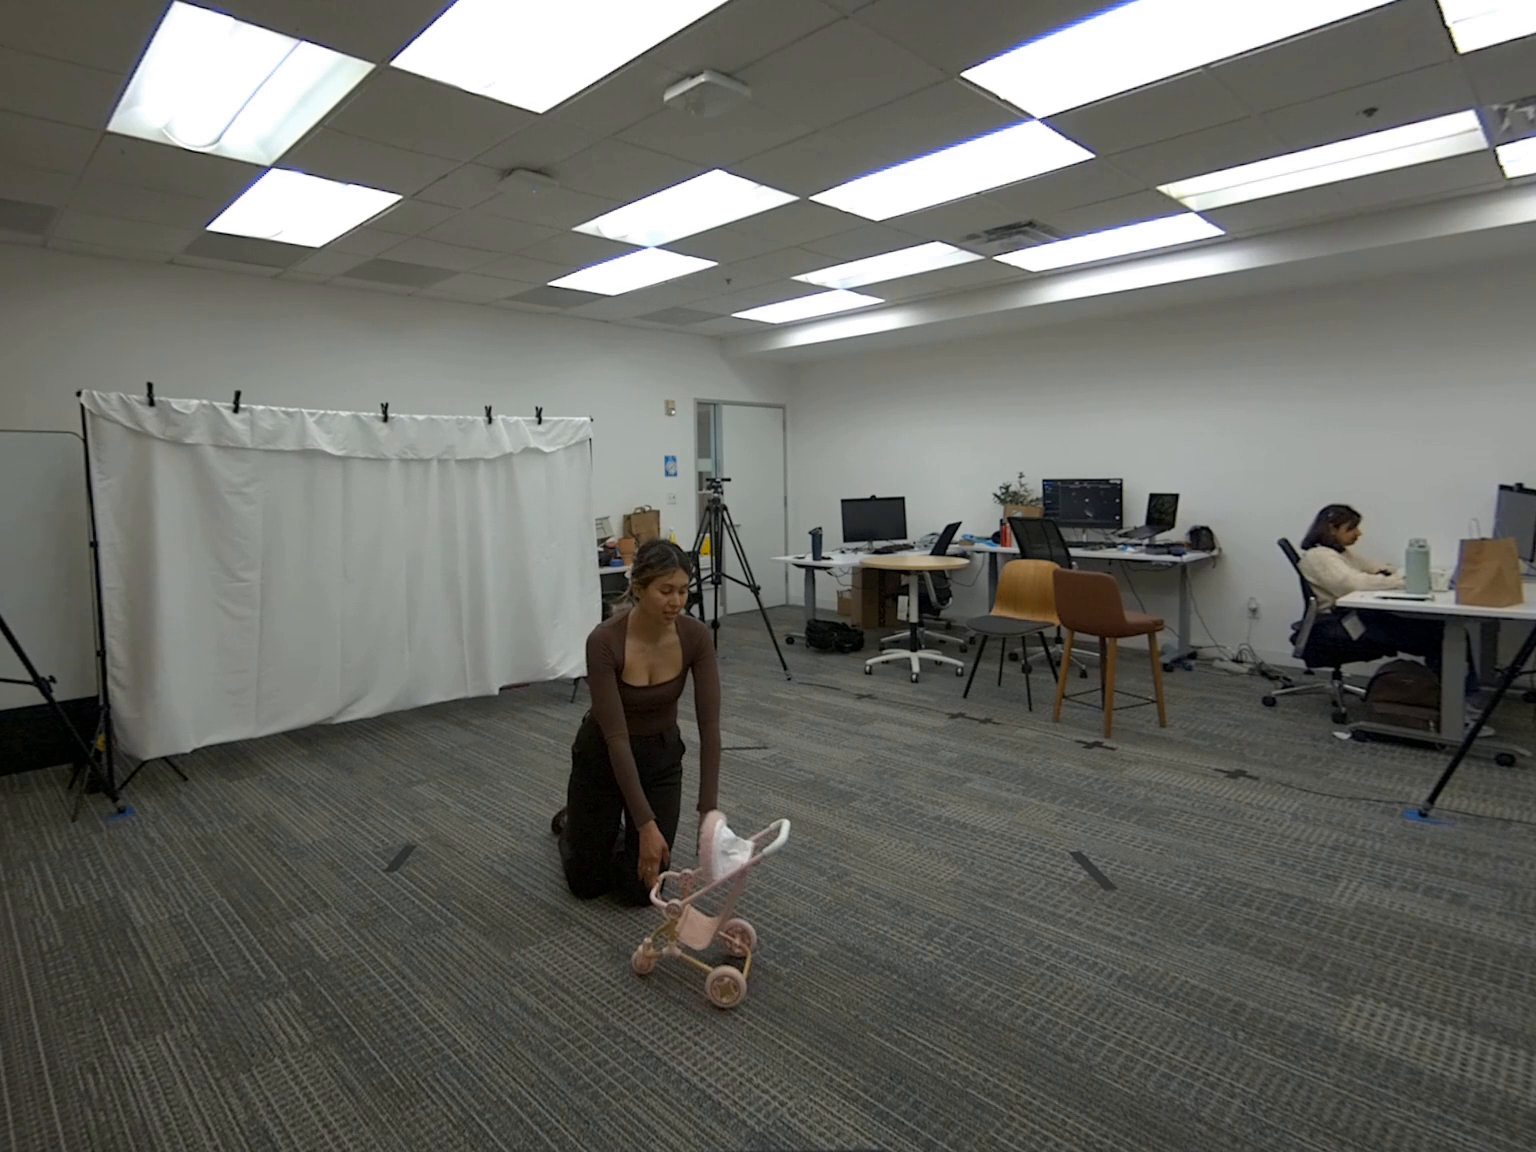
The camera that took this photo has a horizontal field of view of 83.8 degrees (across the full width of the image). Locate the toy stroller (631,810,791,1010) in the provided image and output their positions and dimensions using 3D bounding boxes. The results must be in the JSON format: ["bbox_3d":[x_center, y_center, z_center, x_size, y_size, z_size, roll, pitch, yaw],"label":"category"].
[{"bbox_3d":[-0.162,0.906,2.385,0.346,0.533,0.278,15,6,11],"label":"toy stroller"}]
